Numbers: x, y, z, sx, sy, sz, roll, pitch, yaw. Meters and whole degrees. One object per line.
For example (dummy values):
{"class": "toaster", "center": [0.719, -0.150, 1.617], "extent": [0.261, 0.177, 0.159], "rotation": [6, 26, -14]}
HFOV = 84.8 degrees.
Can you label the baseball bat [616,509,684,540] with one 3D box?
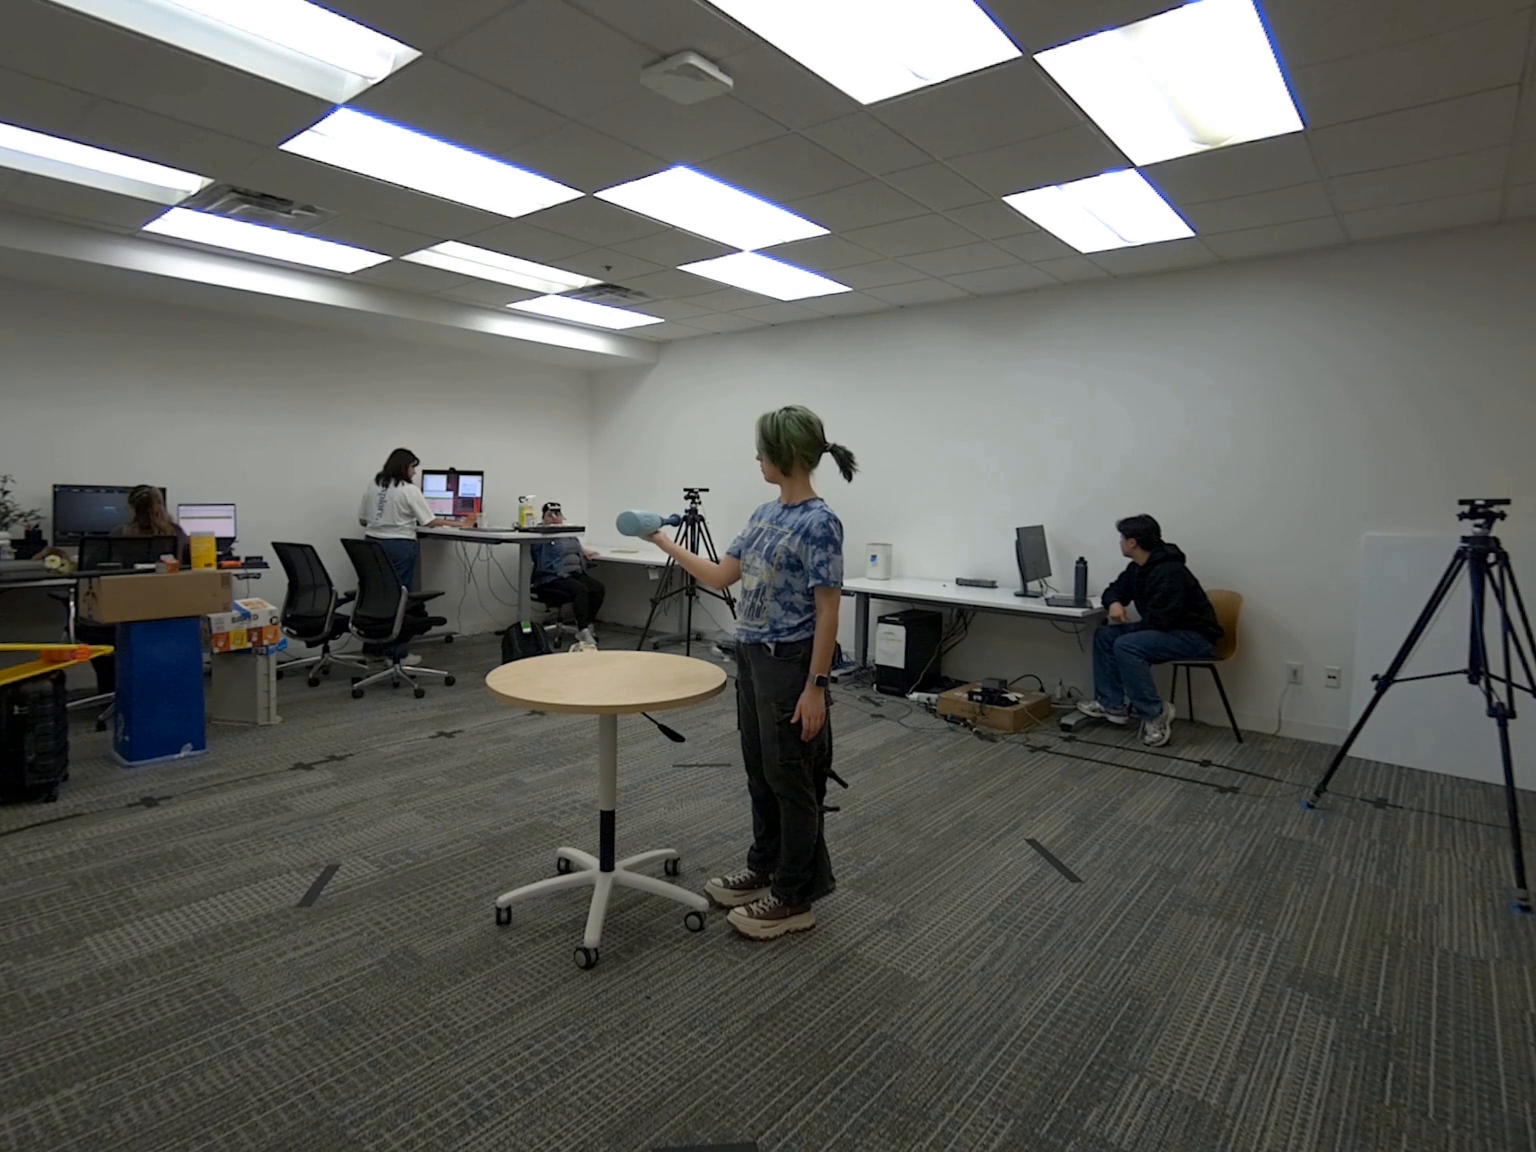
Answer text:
{"class": "baseball bat", "center": [-0.413, -0.190, 2.968], "extent": [0.090, 0.089, 0.538], "rotation": [2, 5, 11]}
